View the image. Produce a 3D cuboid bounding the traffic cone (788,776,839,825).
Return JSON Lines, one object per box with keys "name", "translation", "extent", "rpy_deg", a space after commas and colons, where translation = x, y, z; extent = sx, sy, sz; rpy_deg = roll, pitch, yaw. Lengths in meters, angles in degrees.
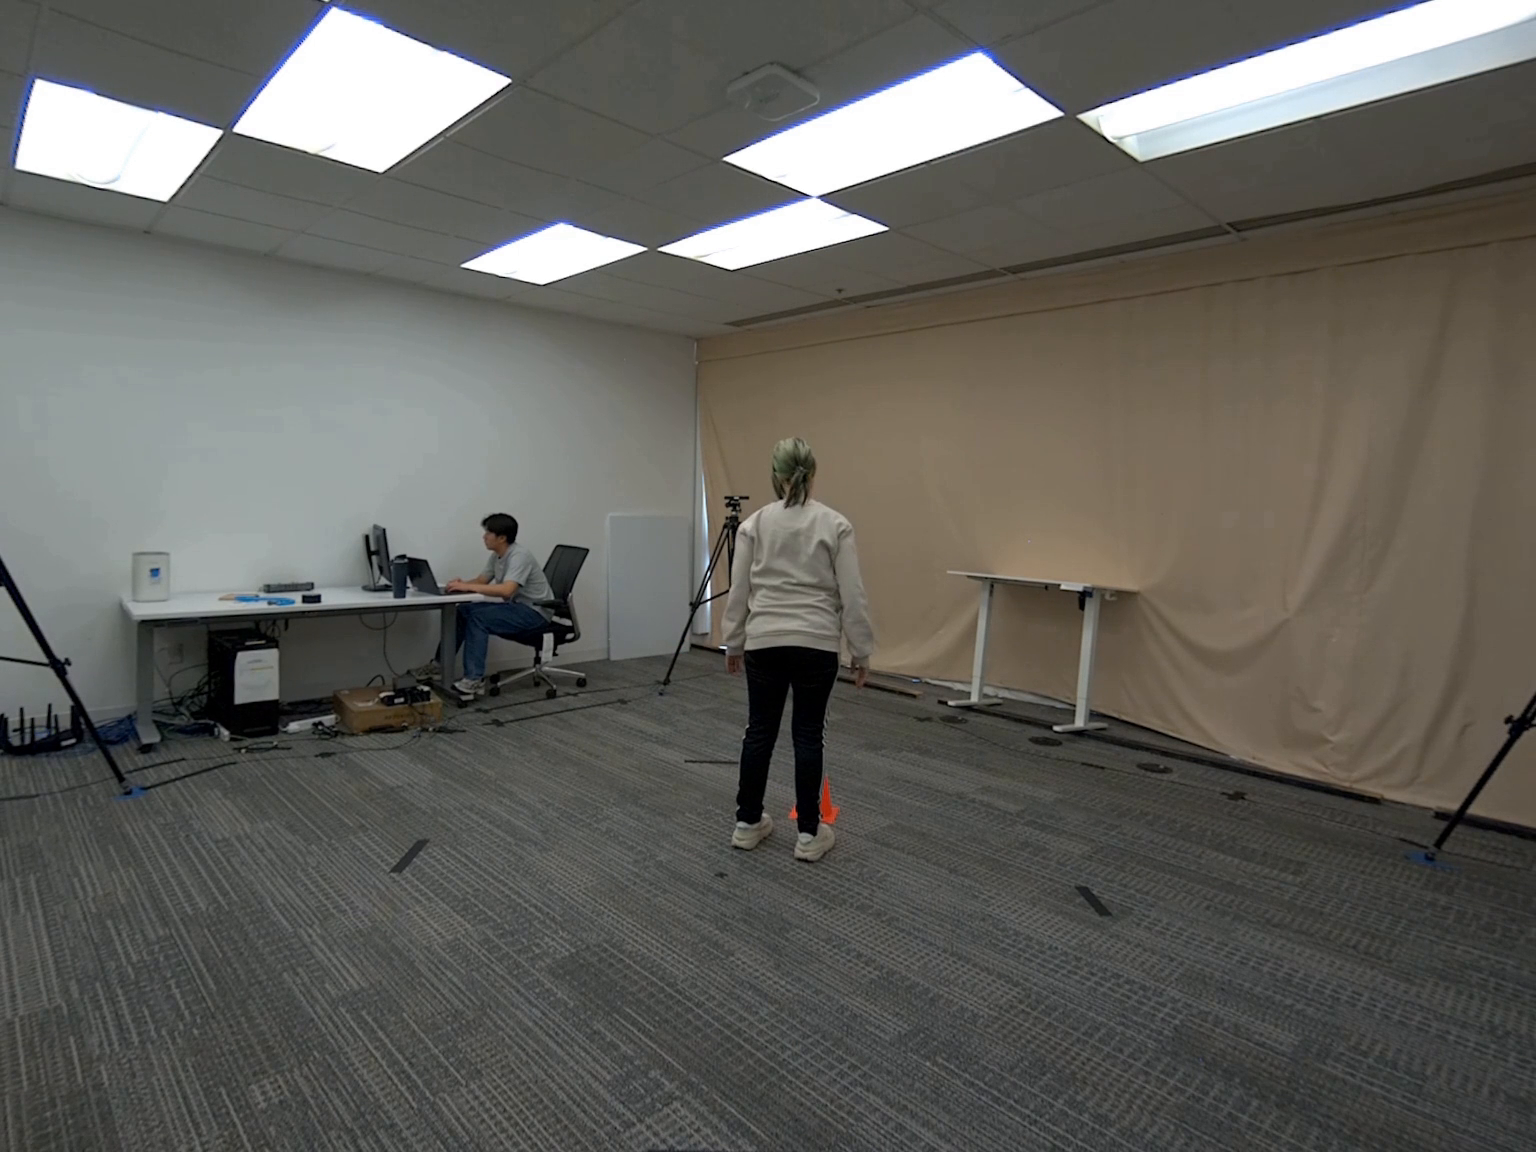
{"name": "traffic cone", "translation": [0.196, 0.871, 3.751], "extent": [0.205, 0.383, 0.204], "rpy_deg": [0, 3, 10]}
